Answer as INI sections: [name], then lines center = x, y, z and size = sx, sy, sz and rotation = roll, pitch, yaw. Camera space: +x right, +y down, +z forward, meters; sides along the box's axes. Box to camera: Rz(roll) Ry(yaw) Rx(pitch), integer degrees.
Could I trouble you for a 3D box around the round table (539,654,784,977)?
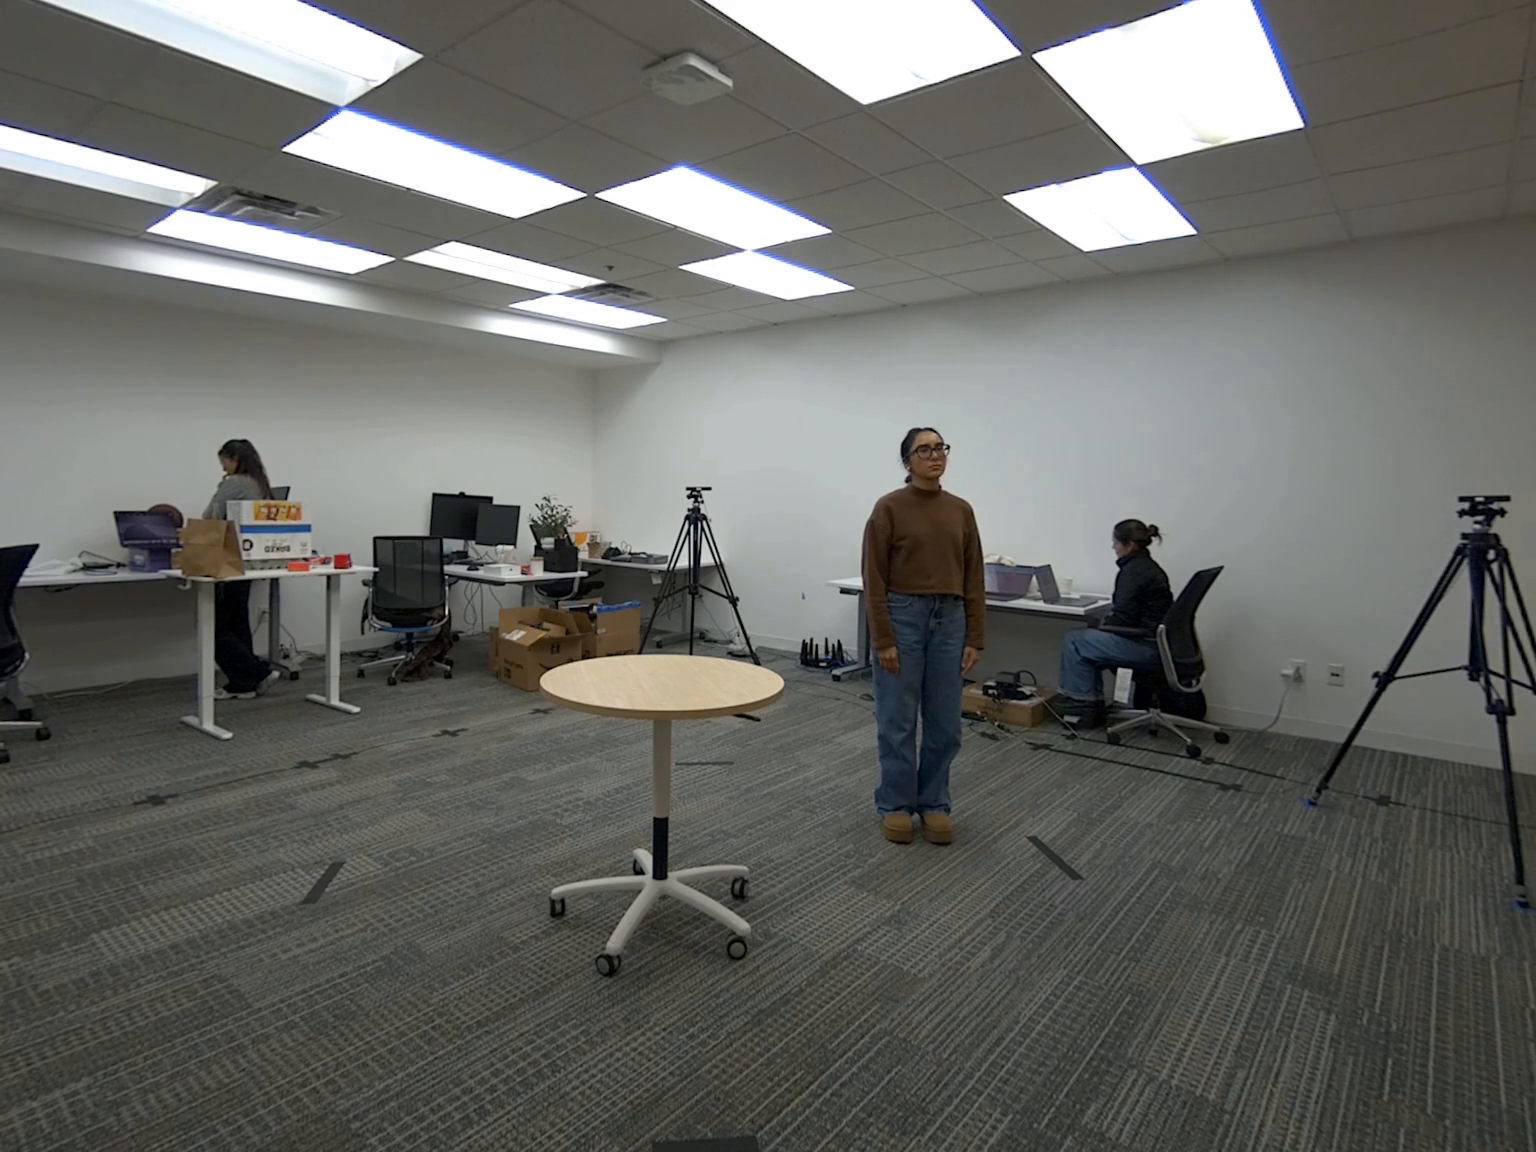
[round table]
center = -0.360, 0.712, 2.704
size = 0.784, 0.784, 0.789
rotation = 1, 4, -2
